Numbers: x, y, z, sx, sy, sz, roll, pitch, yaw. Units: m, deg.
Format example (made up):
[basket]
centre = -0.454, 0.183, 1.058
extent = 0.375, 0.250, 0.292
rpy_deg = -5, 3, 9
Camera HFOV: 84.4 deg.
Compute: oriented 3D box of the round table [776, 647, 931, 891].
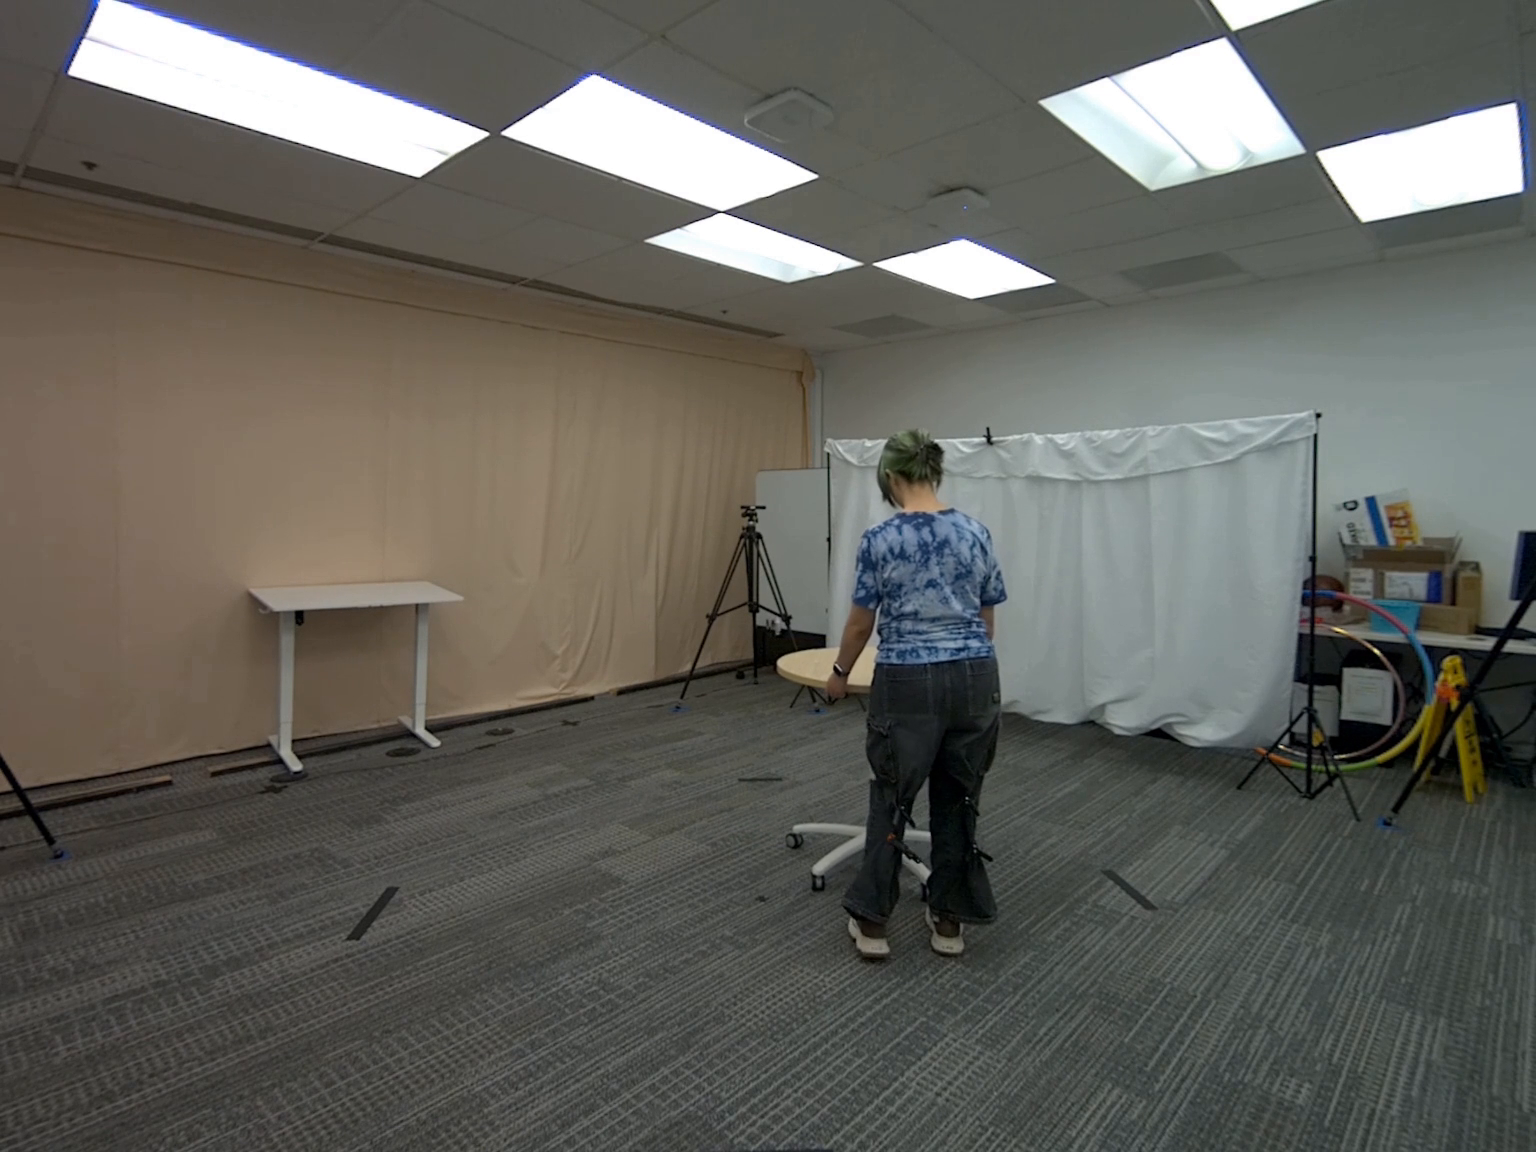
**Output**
[round table]
centre = 0.411, 0.732, 3.237
extent = 0.763, 0.792, 0.767
rpy_deg = 0, 4, -2
